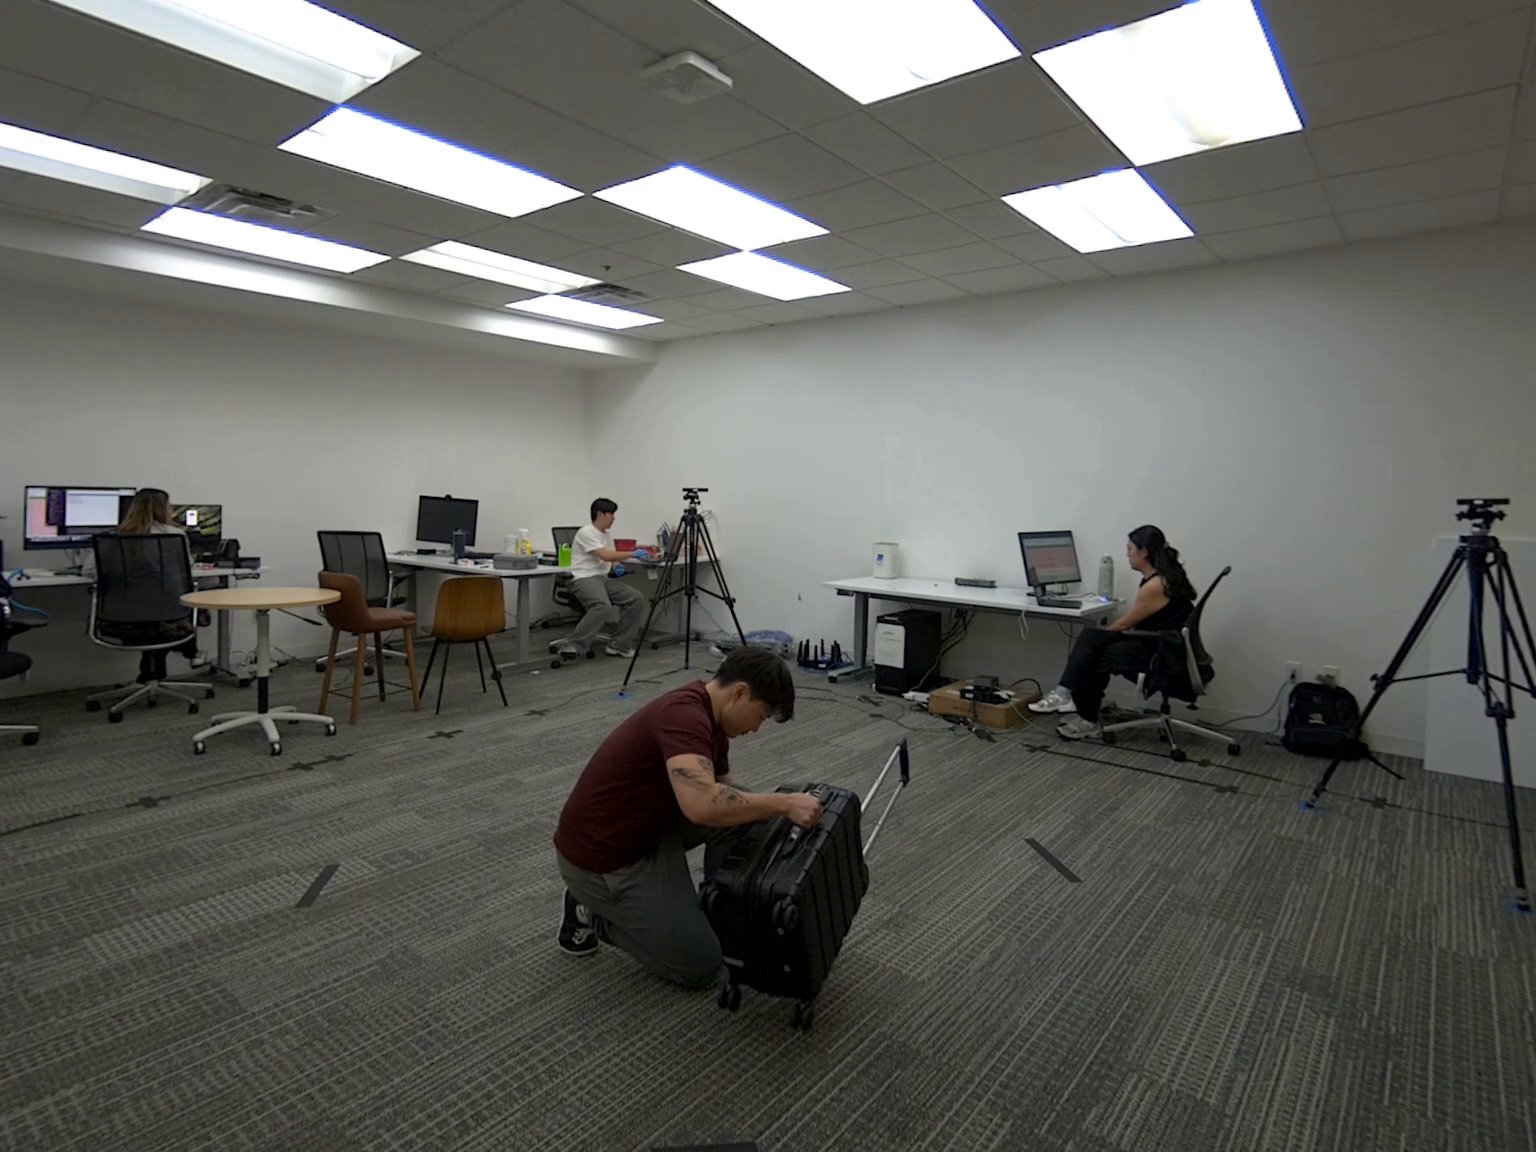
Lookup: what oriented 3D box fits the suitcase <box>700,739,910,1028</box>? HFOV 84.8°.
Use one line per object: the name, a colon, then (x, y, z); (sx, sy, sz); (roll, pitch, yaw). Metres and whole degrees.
suitcase: (0.148, 0.762, 2.453); (0.263, 0.377, 0.972); (-3, 19, 26)
